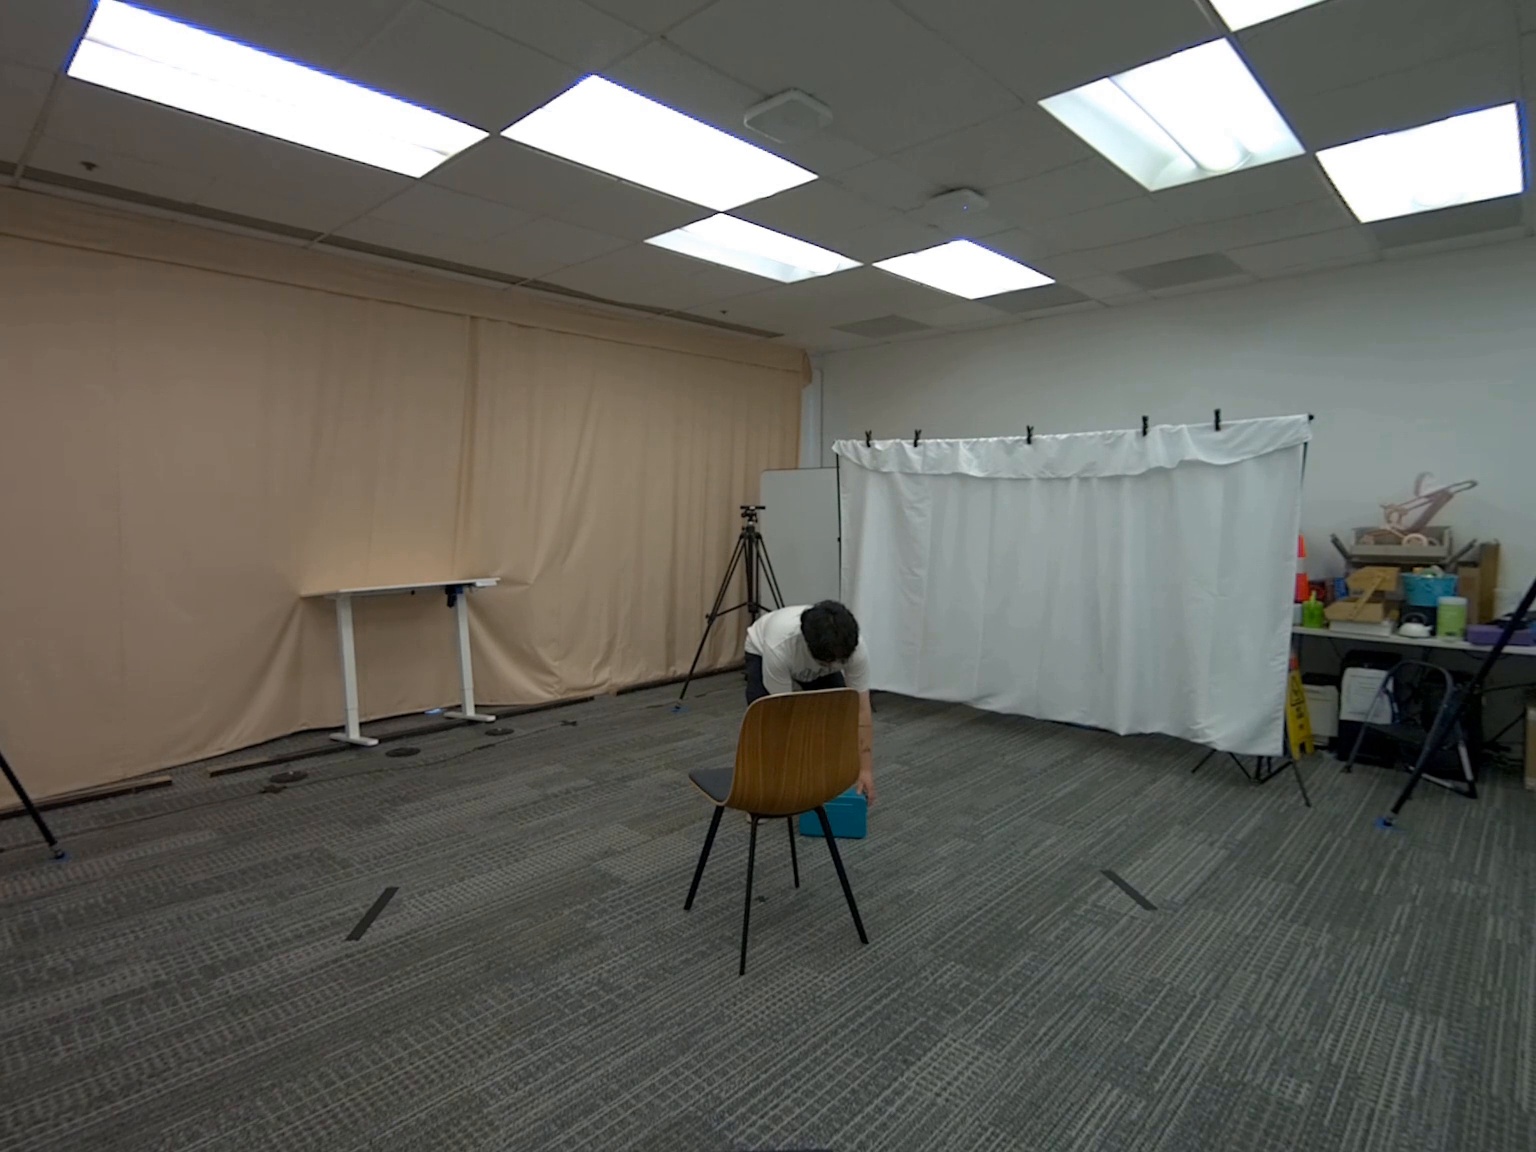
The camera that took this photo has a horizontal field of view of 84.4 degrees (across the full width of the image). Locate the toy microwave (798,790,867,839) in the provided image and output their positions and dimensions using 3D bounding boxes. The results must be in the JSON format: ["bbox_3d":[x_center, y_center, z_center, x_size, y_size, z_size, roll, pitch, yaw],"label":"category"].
[{"bbox_3d":[0.276,1.002,3.591,0.288,0.183,0.152,0,6,7],"label":"toy microwave"}]
